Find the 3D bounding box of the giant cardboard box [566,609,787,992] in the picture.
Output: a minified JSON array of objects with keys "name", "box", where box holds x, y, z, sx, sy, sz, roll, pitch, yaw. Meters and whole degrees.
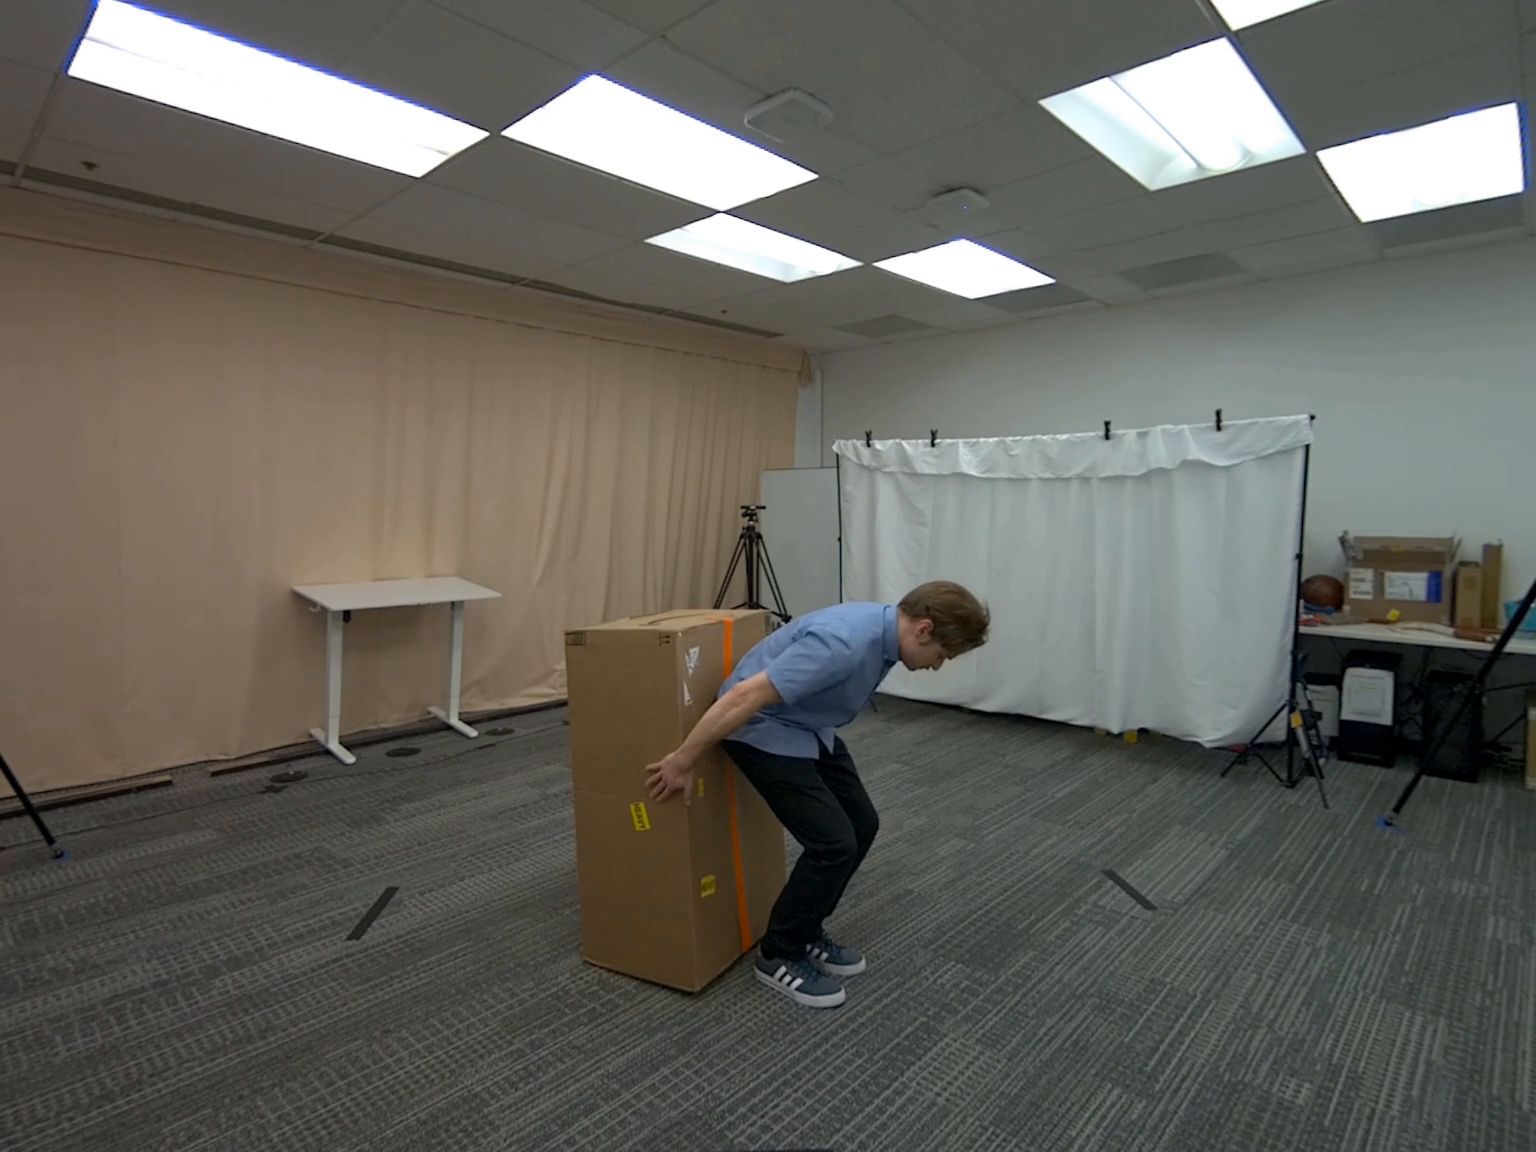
[{"name":"giant cardboard box","box":[-0.277,0.654,2.705,0.459,1.027,0.568,-4,0,29]}]
